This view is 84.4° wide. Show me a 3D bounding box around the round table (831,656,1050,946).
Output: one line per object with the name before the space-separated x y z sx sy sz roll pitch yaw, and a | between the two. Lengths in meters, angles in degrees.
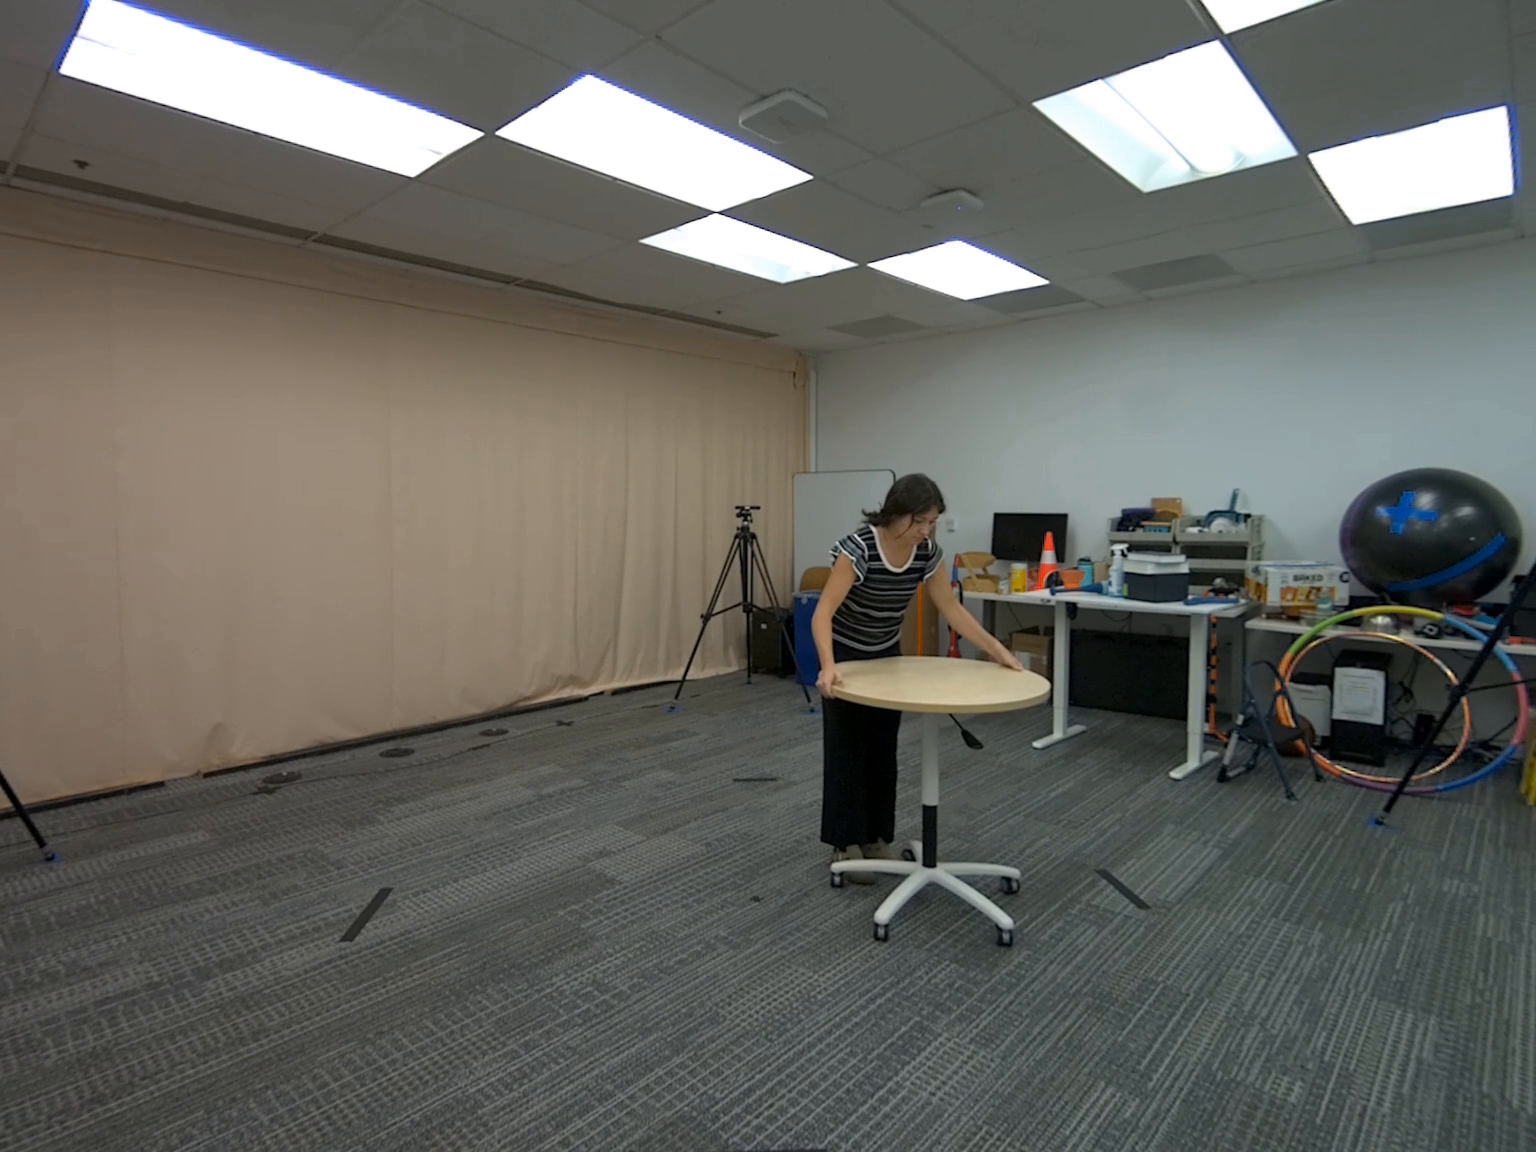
round table | 0.566 0.750 2.912 0.763 0.792 0.767 0 4 -2
